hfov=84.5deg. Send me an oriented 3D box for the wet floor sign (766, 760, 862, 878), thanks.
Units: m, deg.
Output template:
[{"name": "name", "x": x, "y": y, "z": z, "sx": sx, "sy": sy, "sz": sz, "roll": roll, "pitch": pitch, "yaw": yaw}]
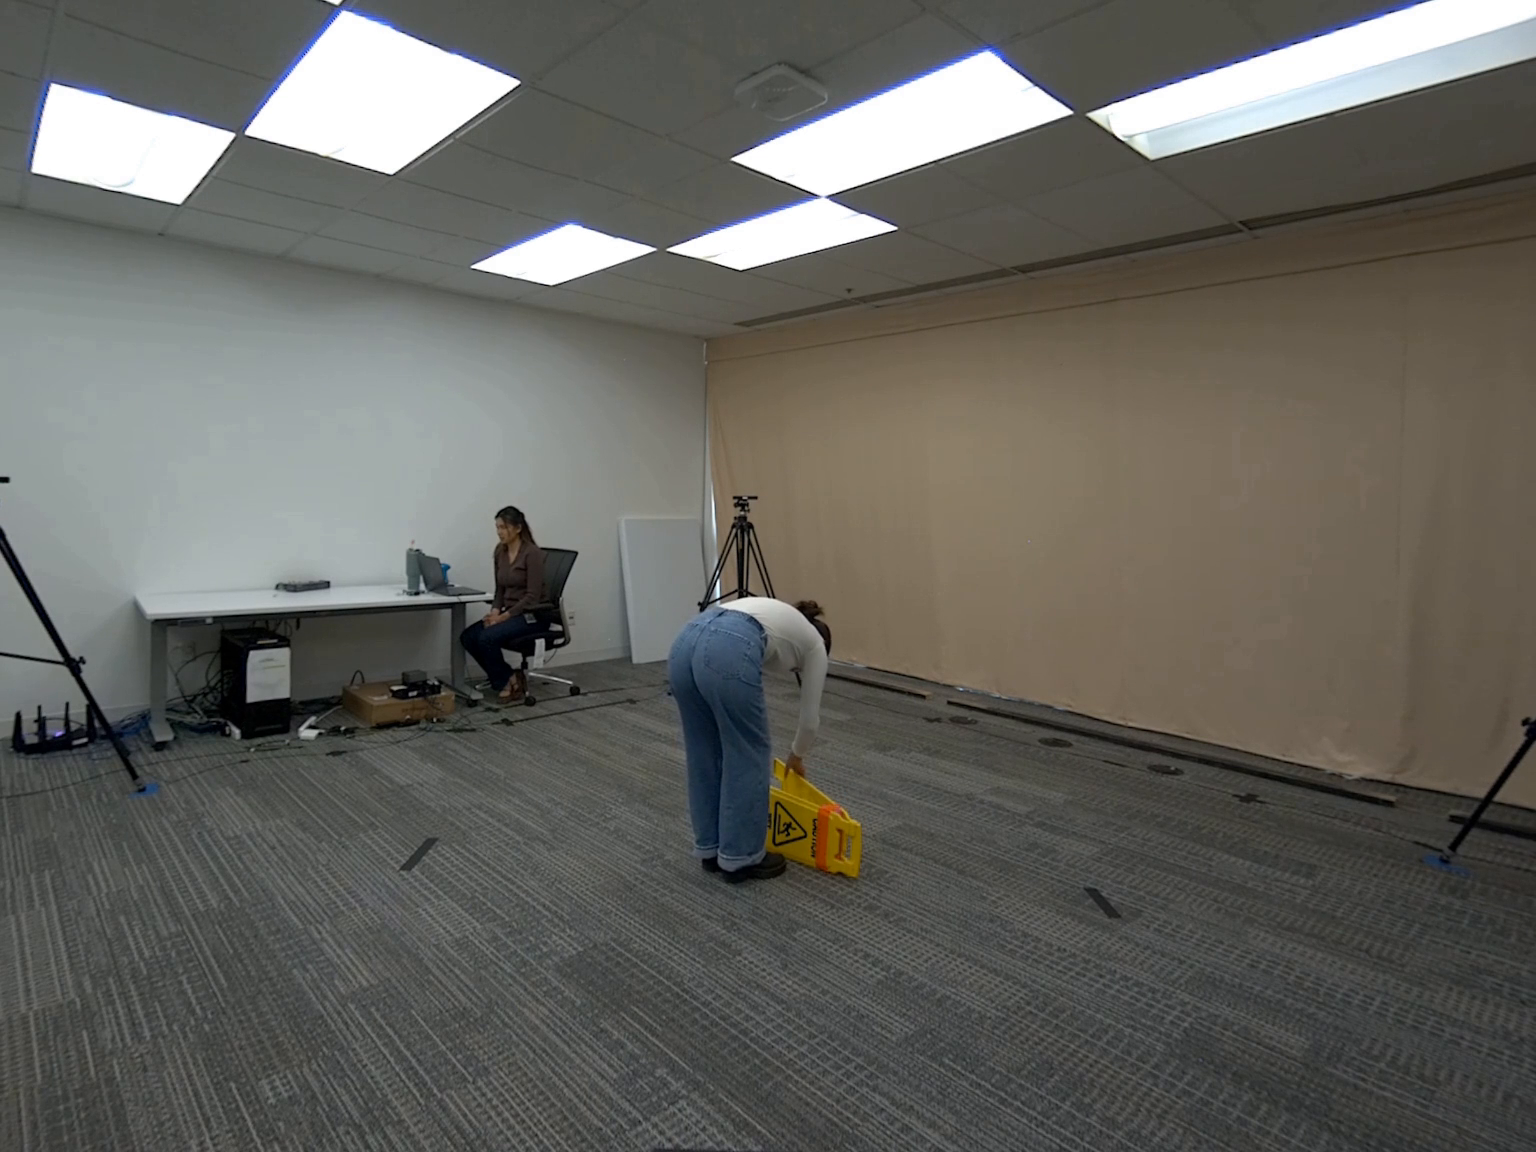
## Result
[{"name": "wet floor sign", "x": 0.110, "y": 0.962, "z": 3.296, "sx": 0.283, "sy": 0.281, "sz": 0.663, "roll": -1, "pitch": 7, "yaw": -38}]
